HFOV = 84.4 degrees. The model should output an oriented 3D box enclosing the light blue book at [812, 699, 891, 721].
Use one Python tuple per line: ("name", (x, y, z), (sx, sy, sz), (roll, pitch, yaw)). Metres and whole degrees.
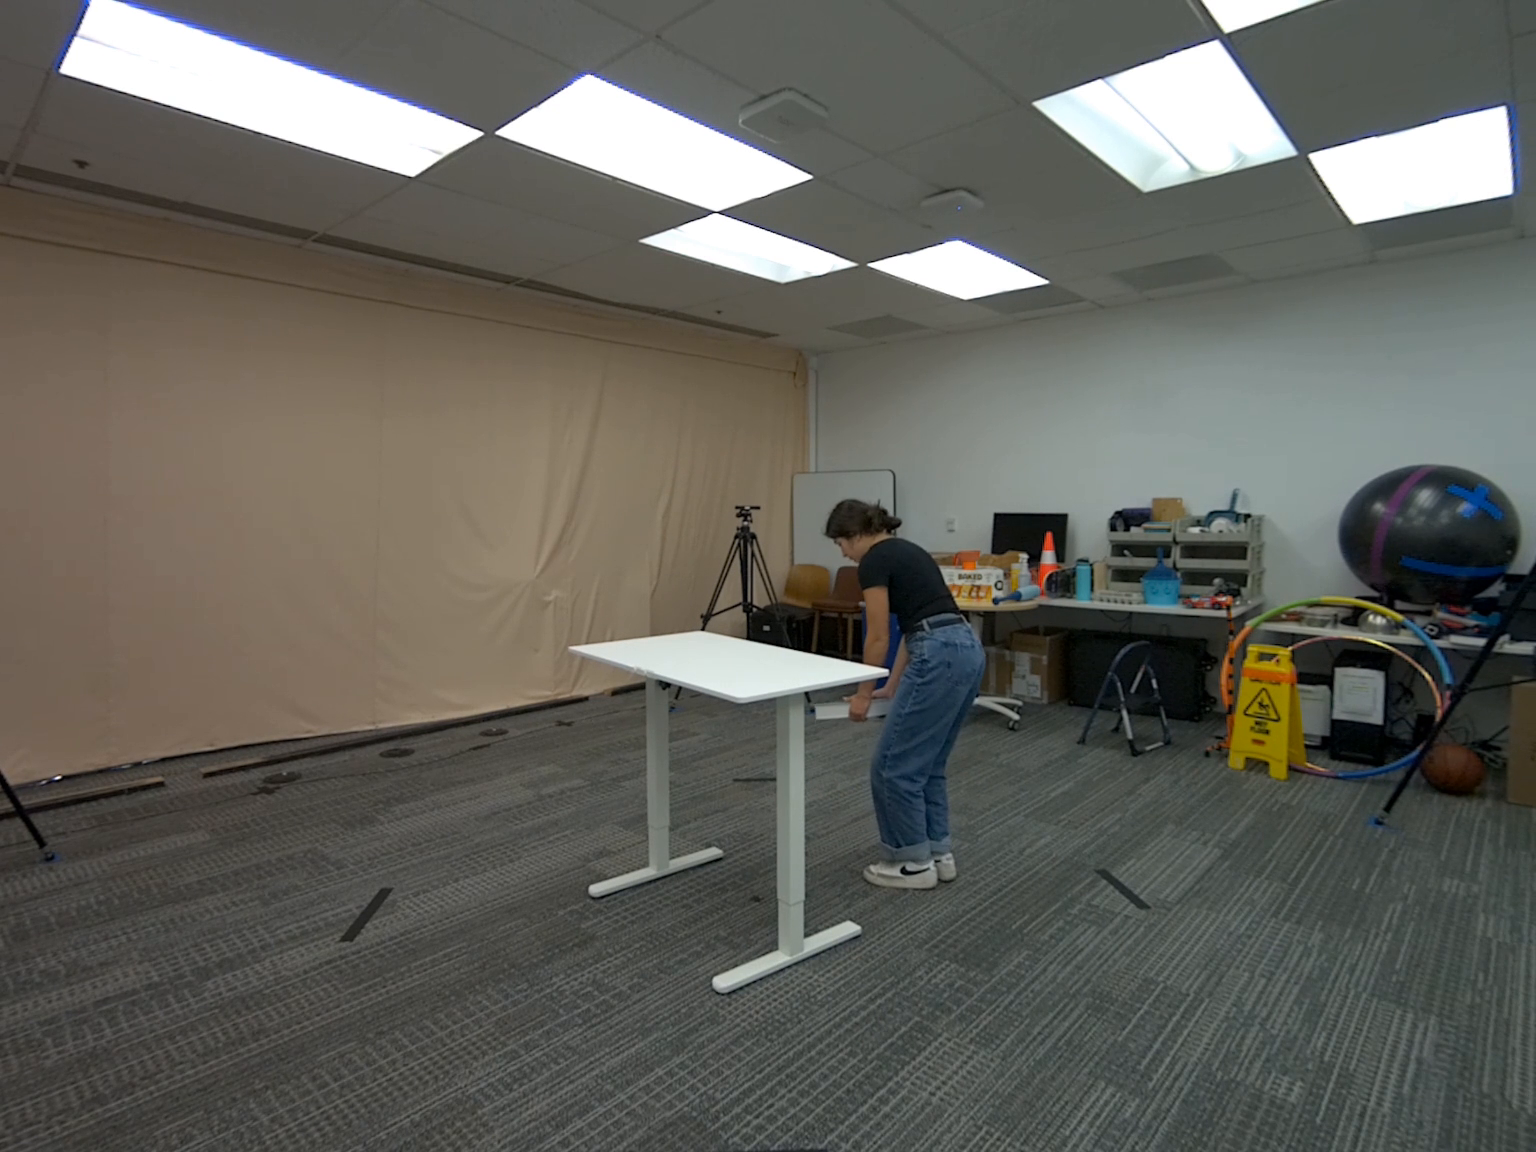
("light blue book", (0.339, 0.527, 3.345), (0.268, 0.059, 0.185), (-9, -8, 36))
